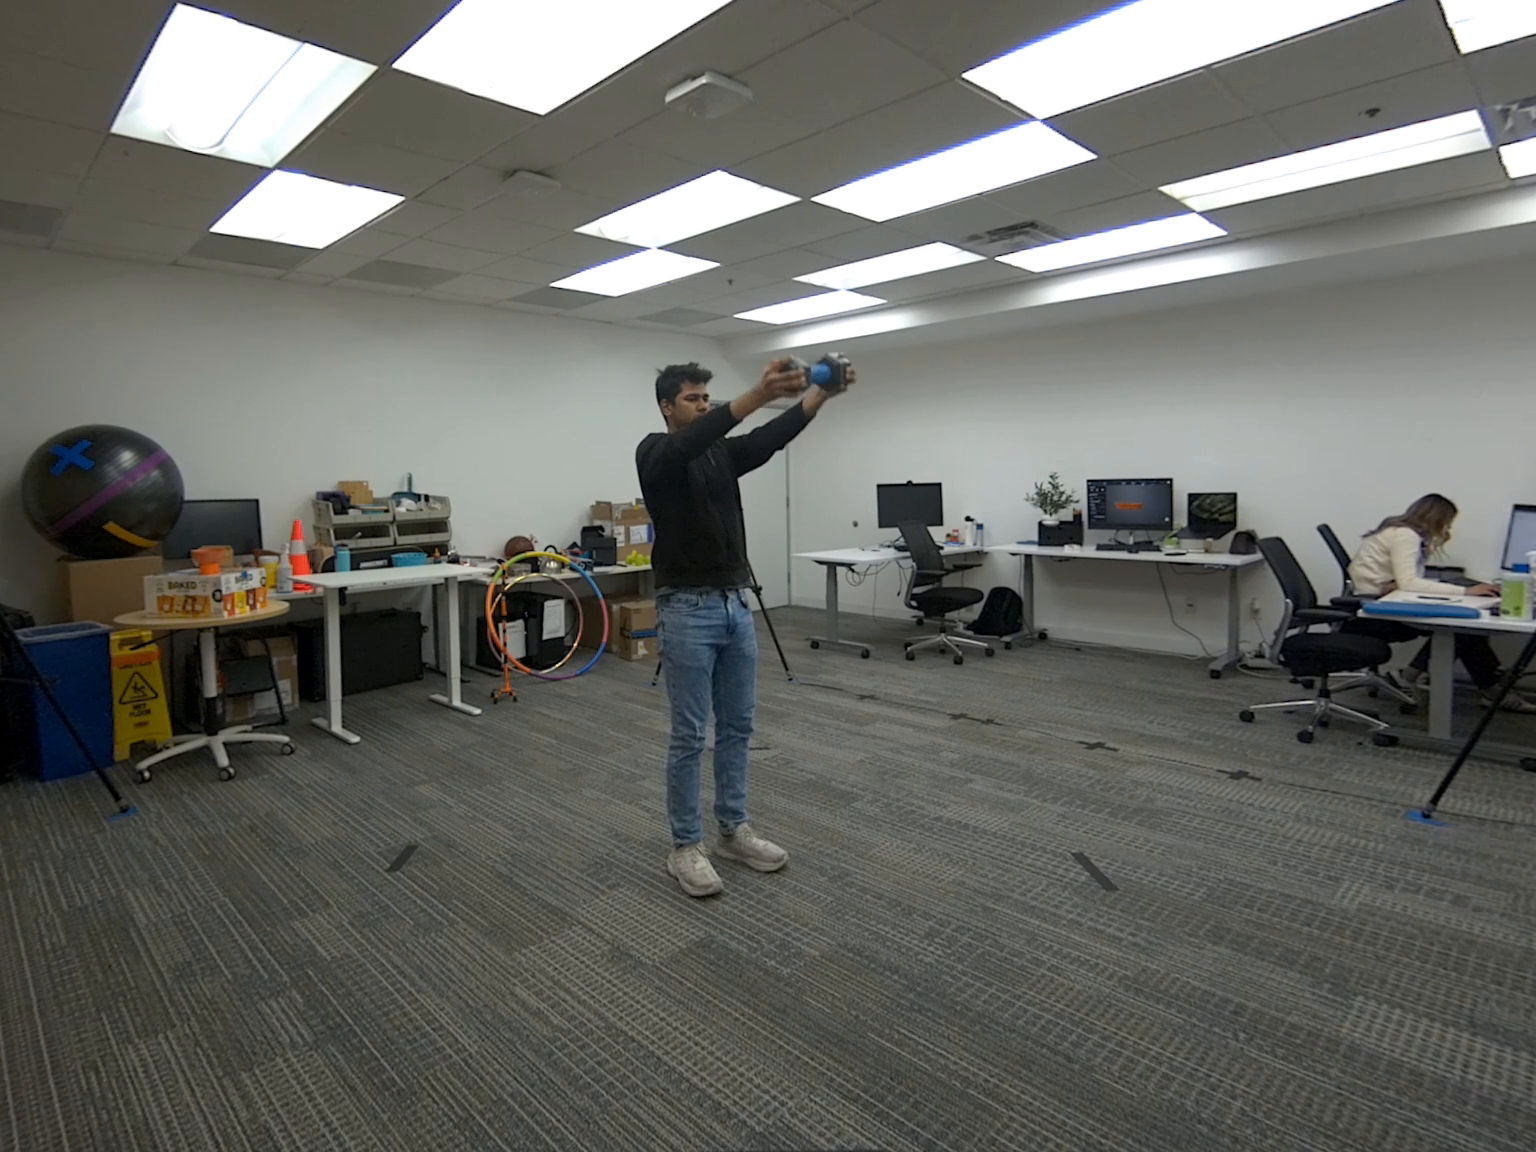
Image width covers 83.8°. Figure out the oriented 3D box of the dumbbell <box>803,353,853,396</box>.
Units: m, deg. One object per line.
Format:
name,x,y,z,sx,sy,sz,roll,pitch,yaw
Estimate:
dumbbell,0.131,-0.625,2.687,0.112,0.121,0.288,7,17,40
